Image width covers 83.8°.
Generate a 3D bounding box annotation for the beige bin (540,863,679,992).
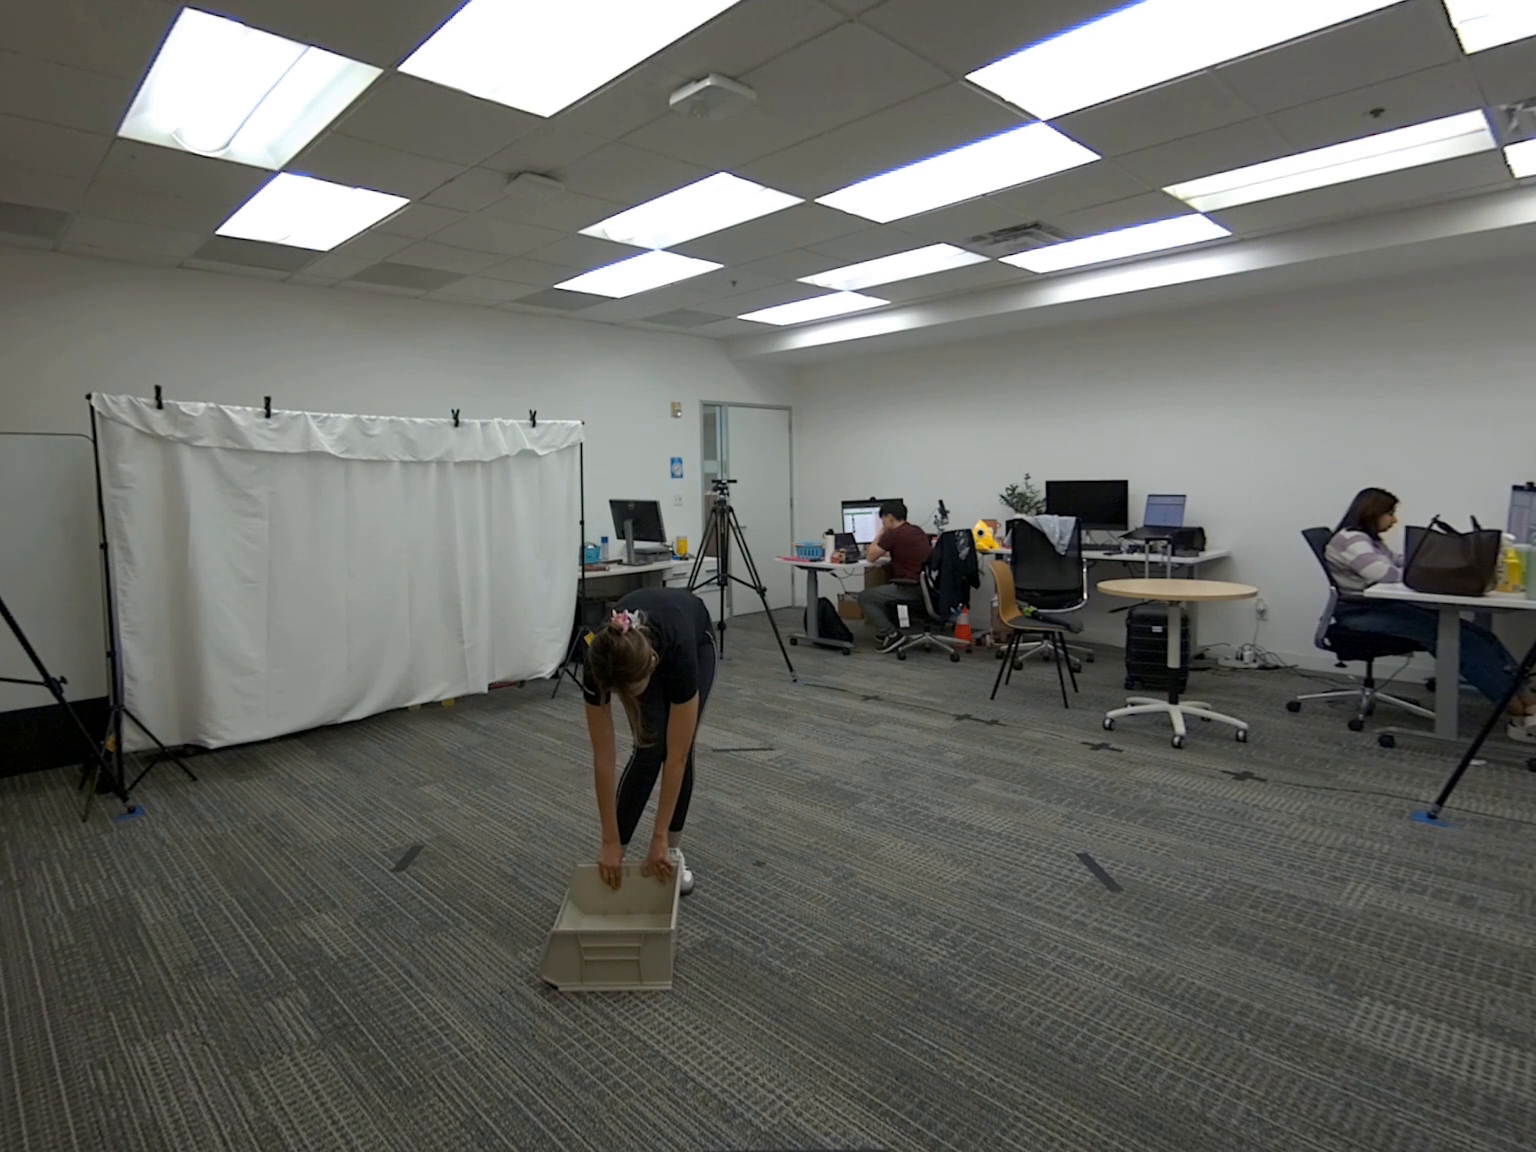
[{"bbox_3d":[-0.454,1.033,2.550,0.377,0.188,0.424,0,6,-2],"label":"beige bin"}]
